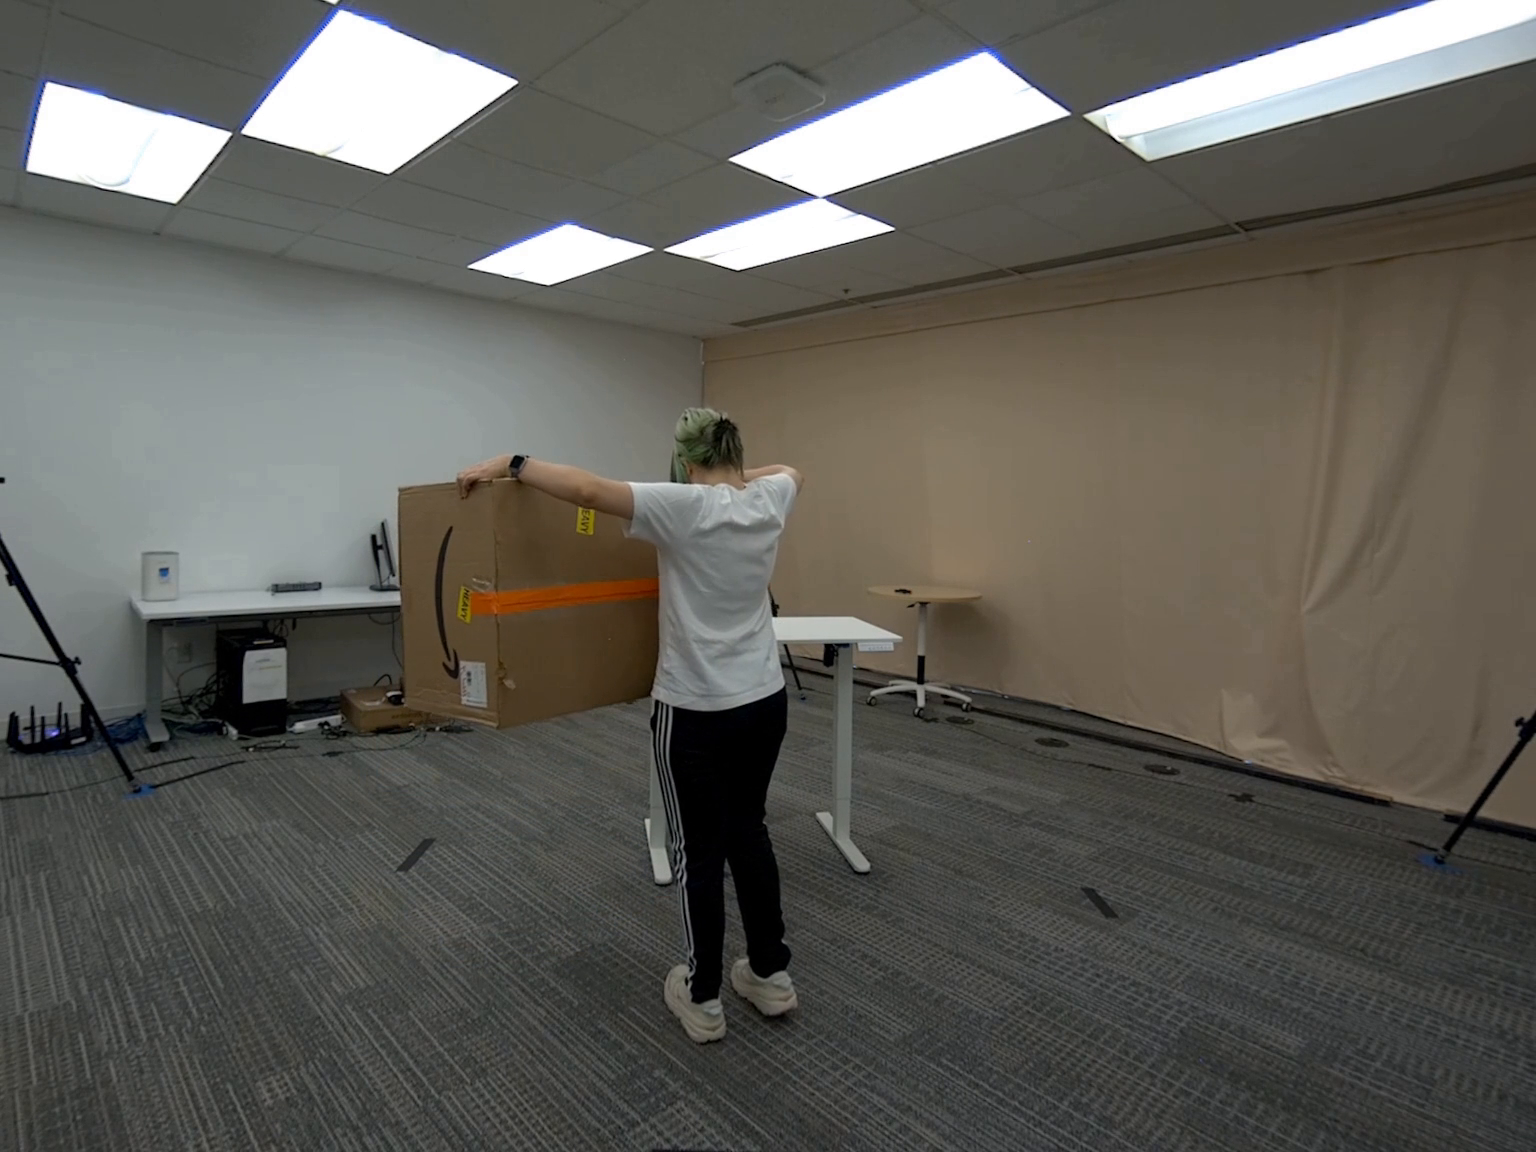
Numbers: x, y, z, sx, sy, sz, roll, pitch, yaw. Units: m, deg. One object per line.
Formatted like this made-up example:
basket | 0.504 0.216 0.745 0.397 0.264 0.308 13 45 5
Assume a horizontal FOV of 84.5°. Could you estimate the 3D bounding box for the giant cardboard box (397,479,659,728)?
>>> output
giant cardboard box | -0.474 0.039 2.418 0.457 0.583 1.004 1 4 39
